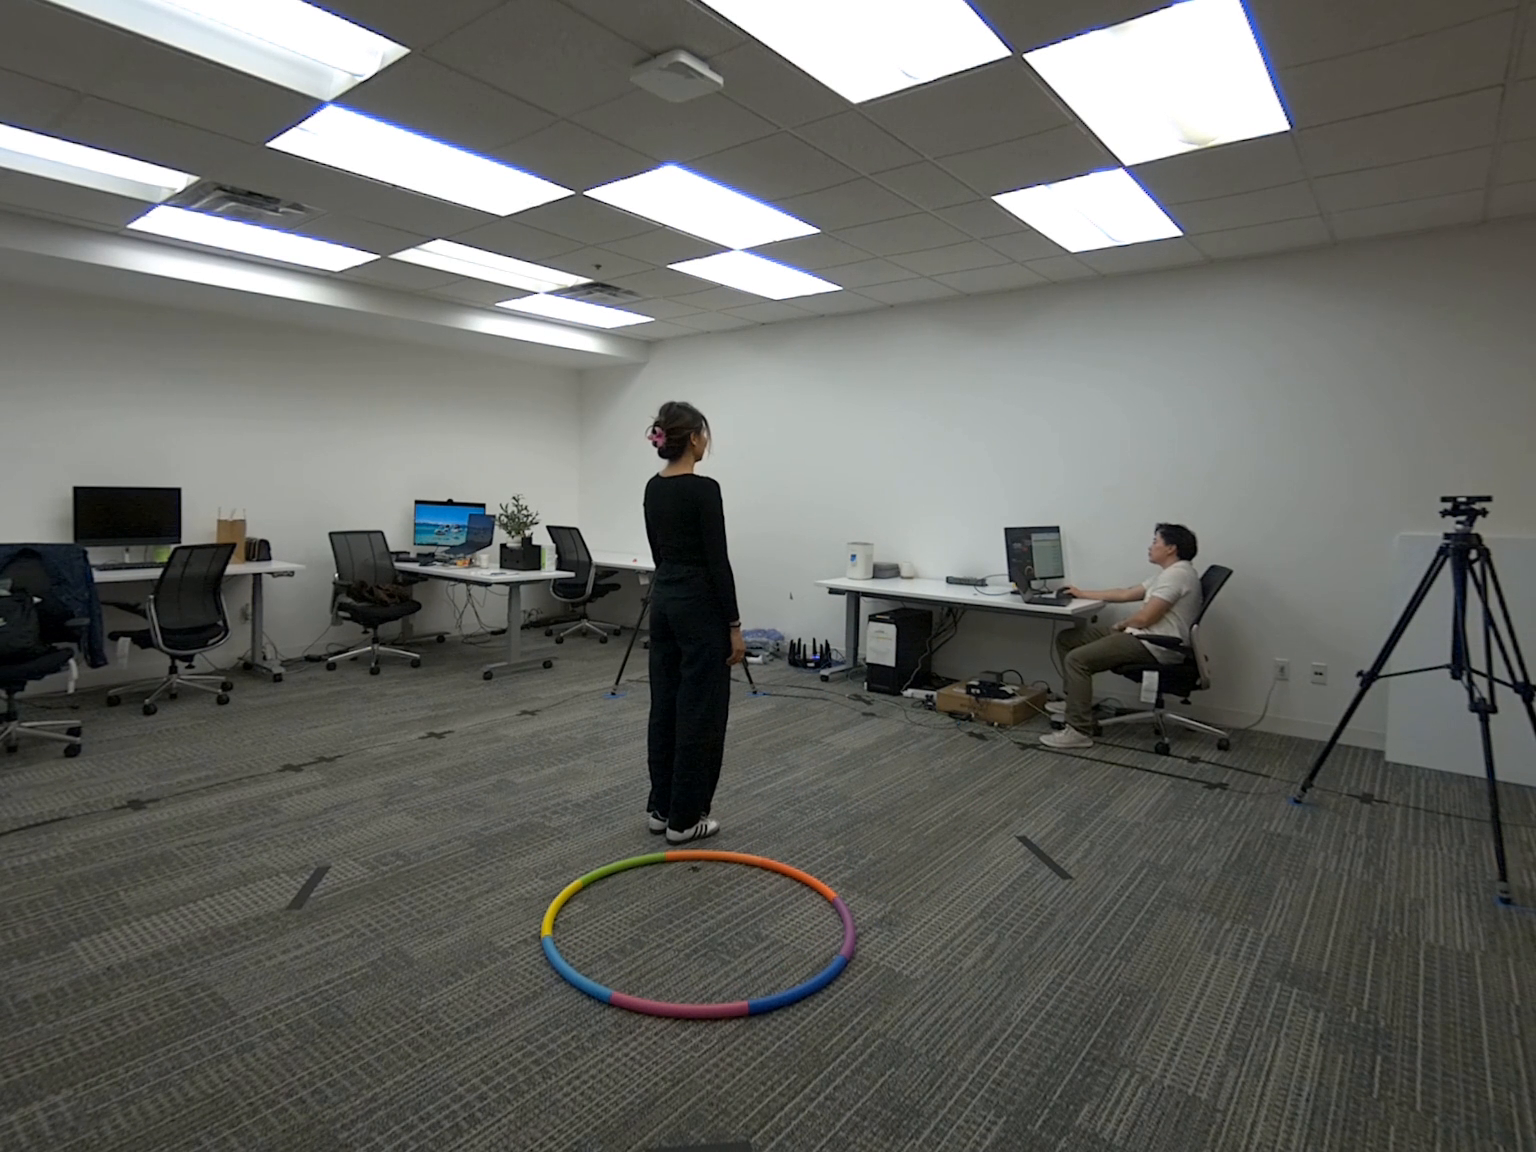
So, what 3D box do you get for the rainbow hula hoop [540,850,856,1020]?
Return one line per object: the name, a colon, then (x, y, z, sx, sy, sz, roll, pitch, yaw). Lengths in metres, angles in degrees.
rainbow hula hoop: (-0.225, 1.075, 2.703, 0.978, 0.035, 0.984, 1, 5, -2)
